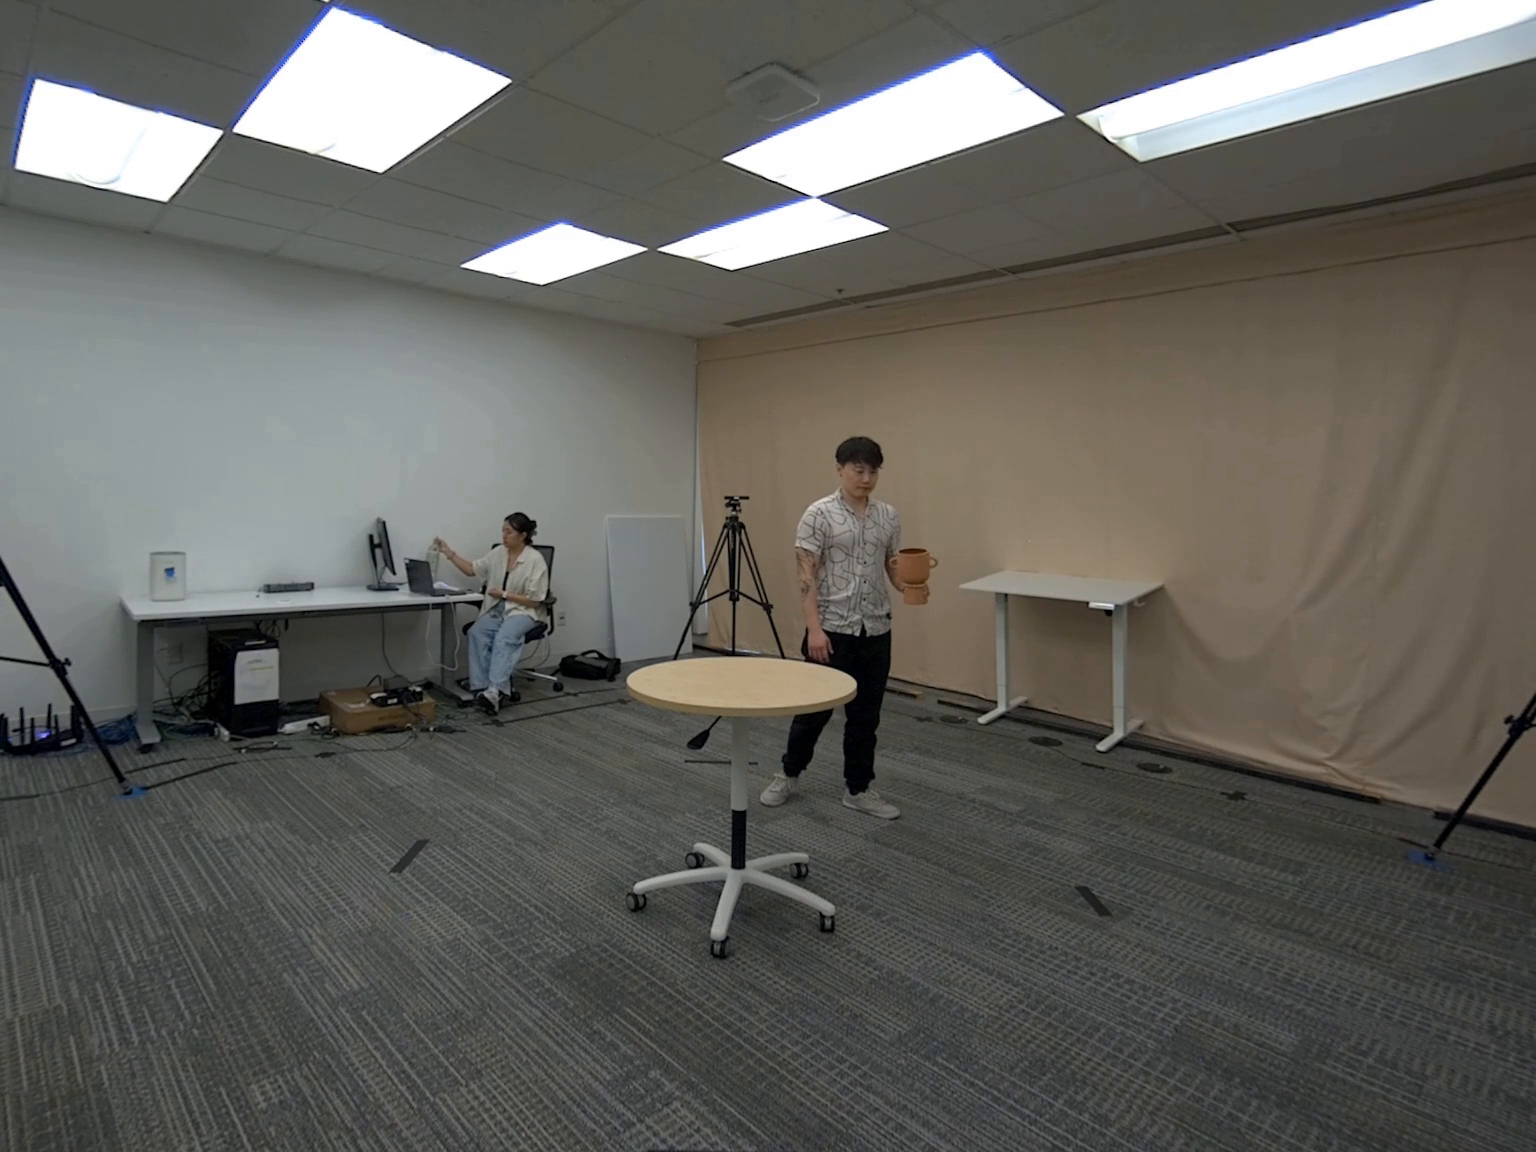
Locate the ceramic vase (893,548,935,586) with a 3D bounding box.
[{"bbox_3d":[0.596,0.000,3.541,0.132,0.218,0.163,-12,16,-38],"label":"ceramic vase"}]
